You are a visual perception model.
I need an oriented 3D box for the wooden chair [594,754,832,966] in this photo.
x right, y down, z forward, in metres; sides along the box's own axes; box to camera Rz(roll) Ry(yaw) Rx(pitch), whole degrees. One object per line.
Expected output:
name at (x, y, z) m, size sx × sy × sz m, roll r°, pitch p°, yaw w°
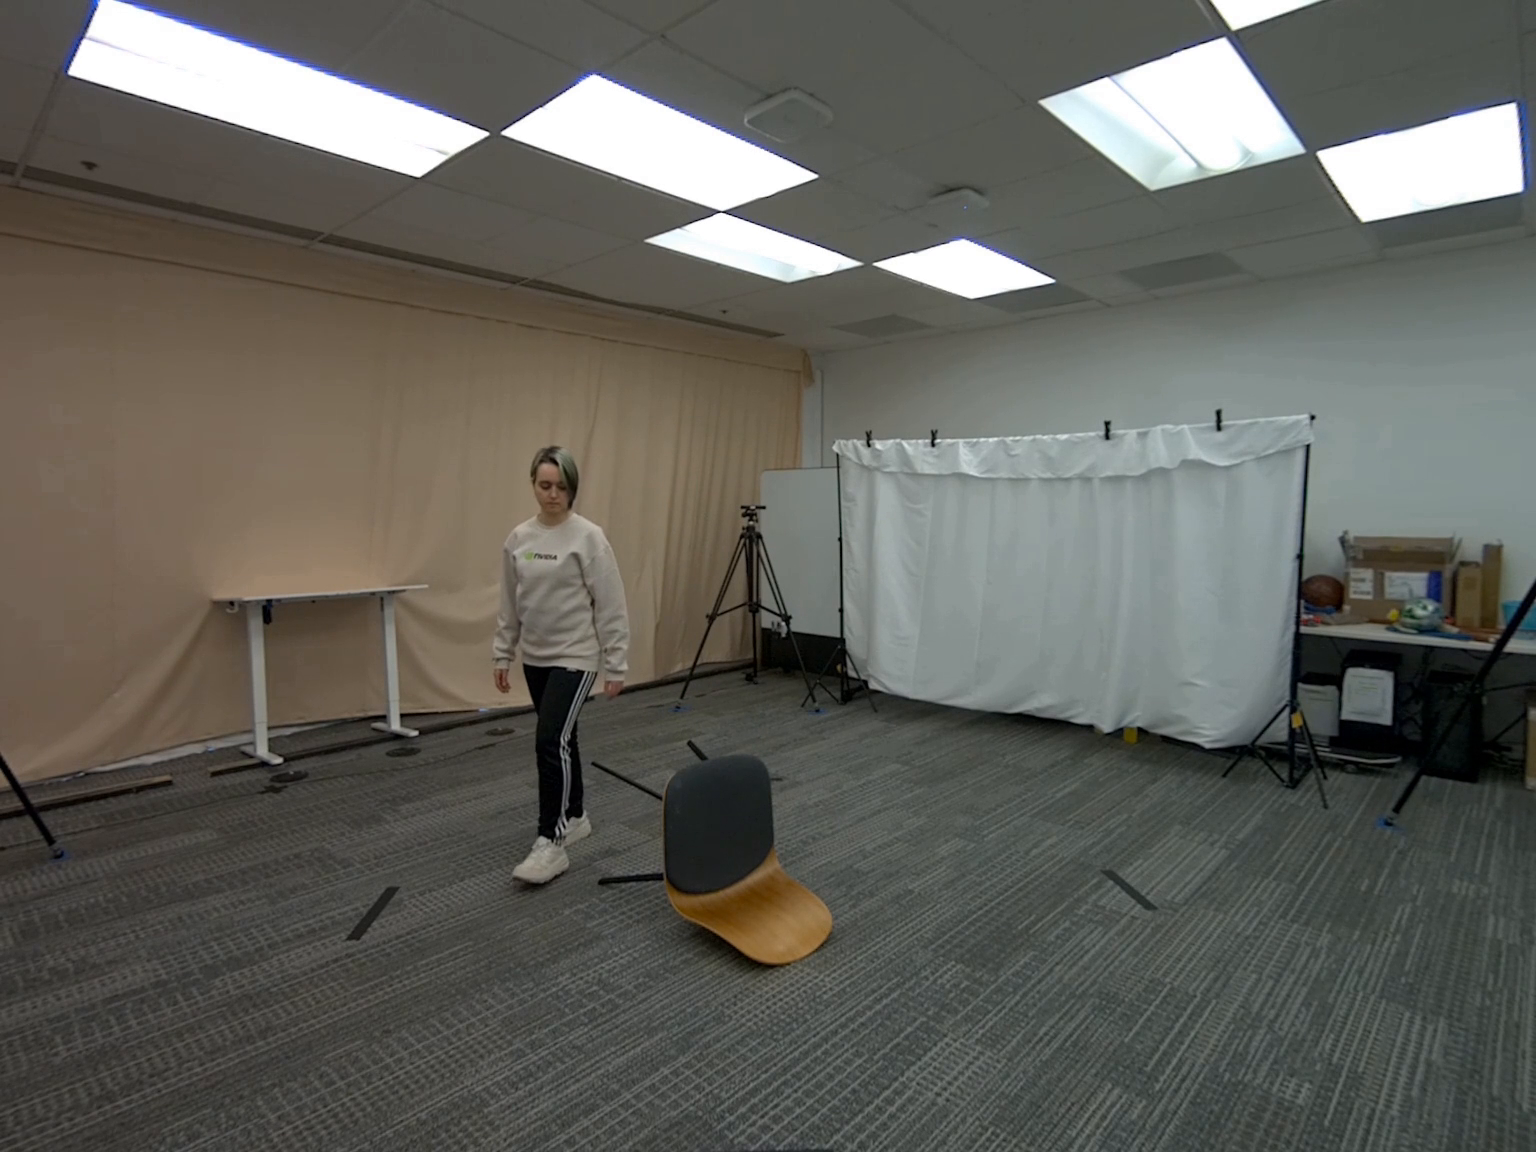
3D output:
wooden chair at (-0.188, 0.894, 2.908) m, size 0.464 × 0.521 × 0.907 m, roll -4°, pitch 7°, yaw -39°
